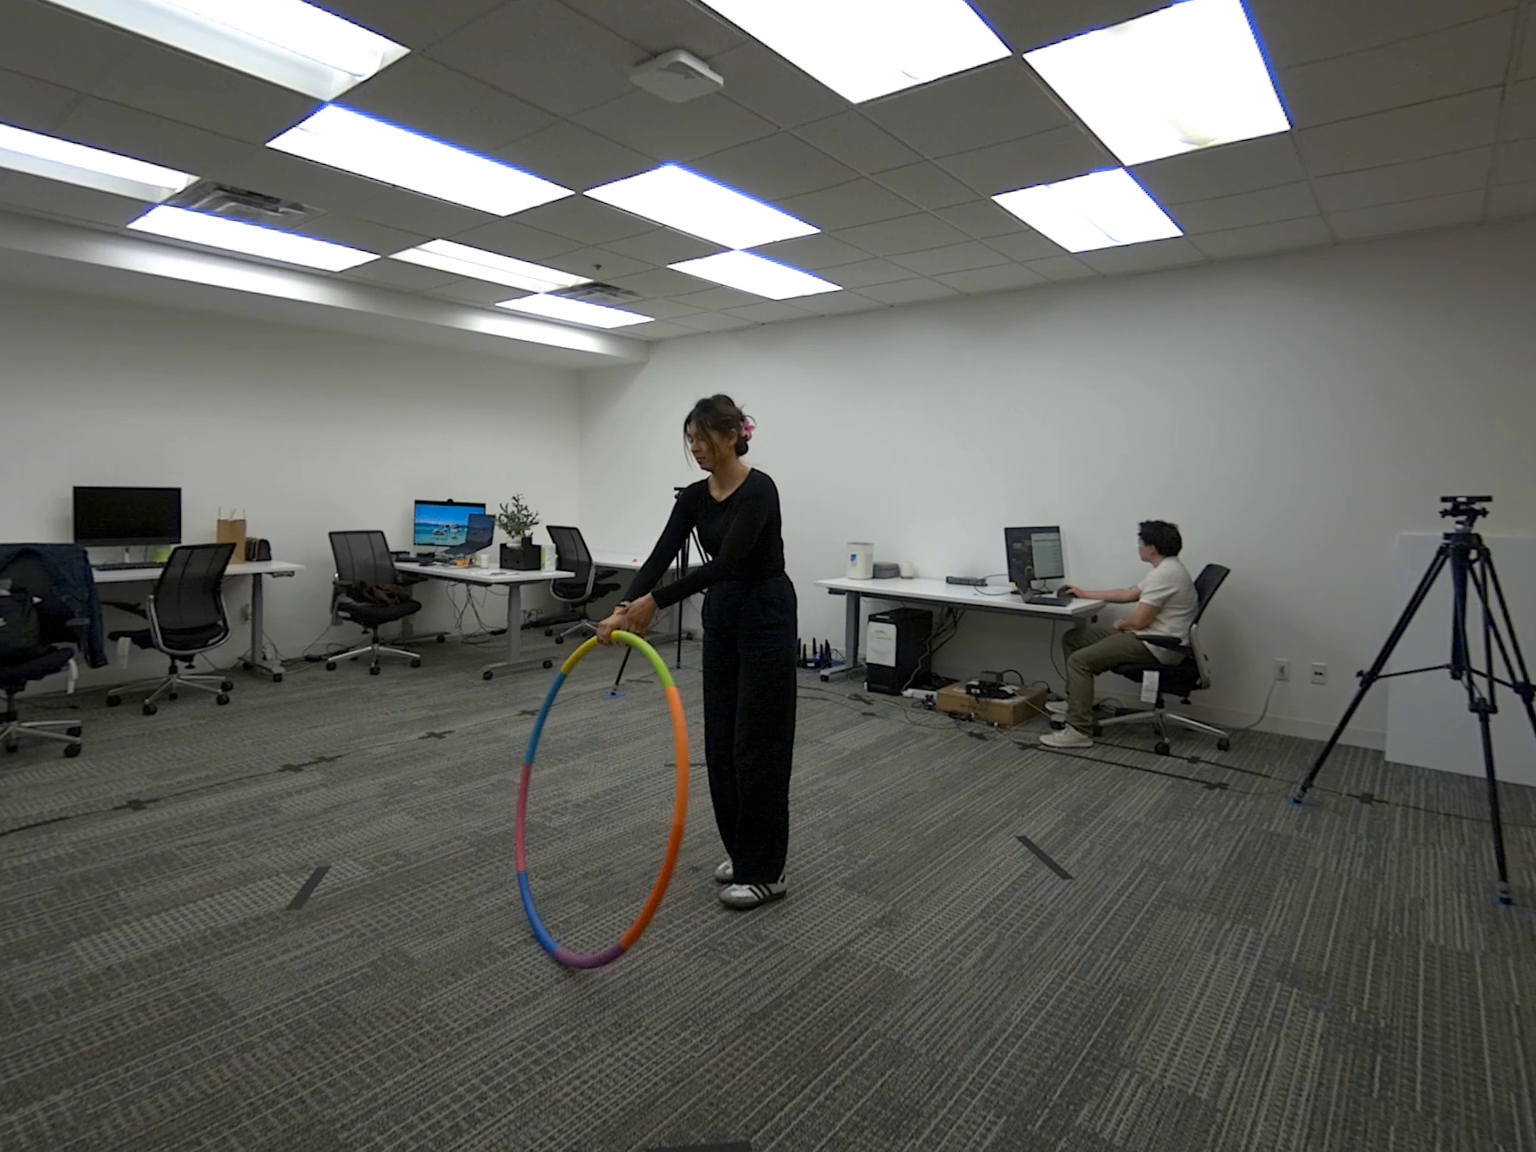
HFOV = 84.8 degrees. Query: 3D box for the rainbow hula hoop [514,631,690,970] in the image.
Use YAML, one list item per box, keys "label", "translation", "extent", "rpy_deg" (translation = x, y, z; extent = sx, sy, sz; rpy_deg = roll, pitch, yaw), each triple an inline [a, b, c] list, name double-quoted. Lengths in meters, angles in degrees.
- label: "rainbow hula hoop"
  translation: [-0.556, 0.645, 2.585]
  extent: [0.034, 0.983, 1.011]
  rpy_deg: [19, -7, -37]
